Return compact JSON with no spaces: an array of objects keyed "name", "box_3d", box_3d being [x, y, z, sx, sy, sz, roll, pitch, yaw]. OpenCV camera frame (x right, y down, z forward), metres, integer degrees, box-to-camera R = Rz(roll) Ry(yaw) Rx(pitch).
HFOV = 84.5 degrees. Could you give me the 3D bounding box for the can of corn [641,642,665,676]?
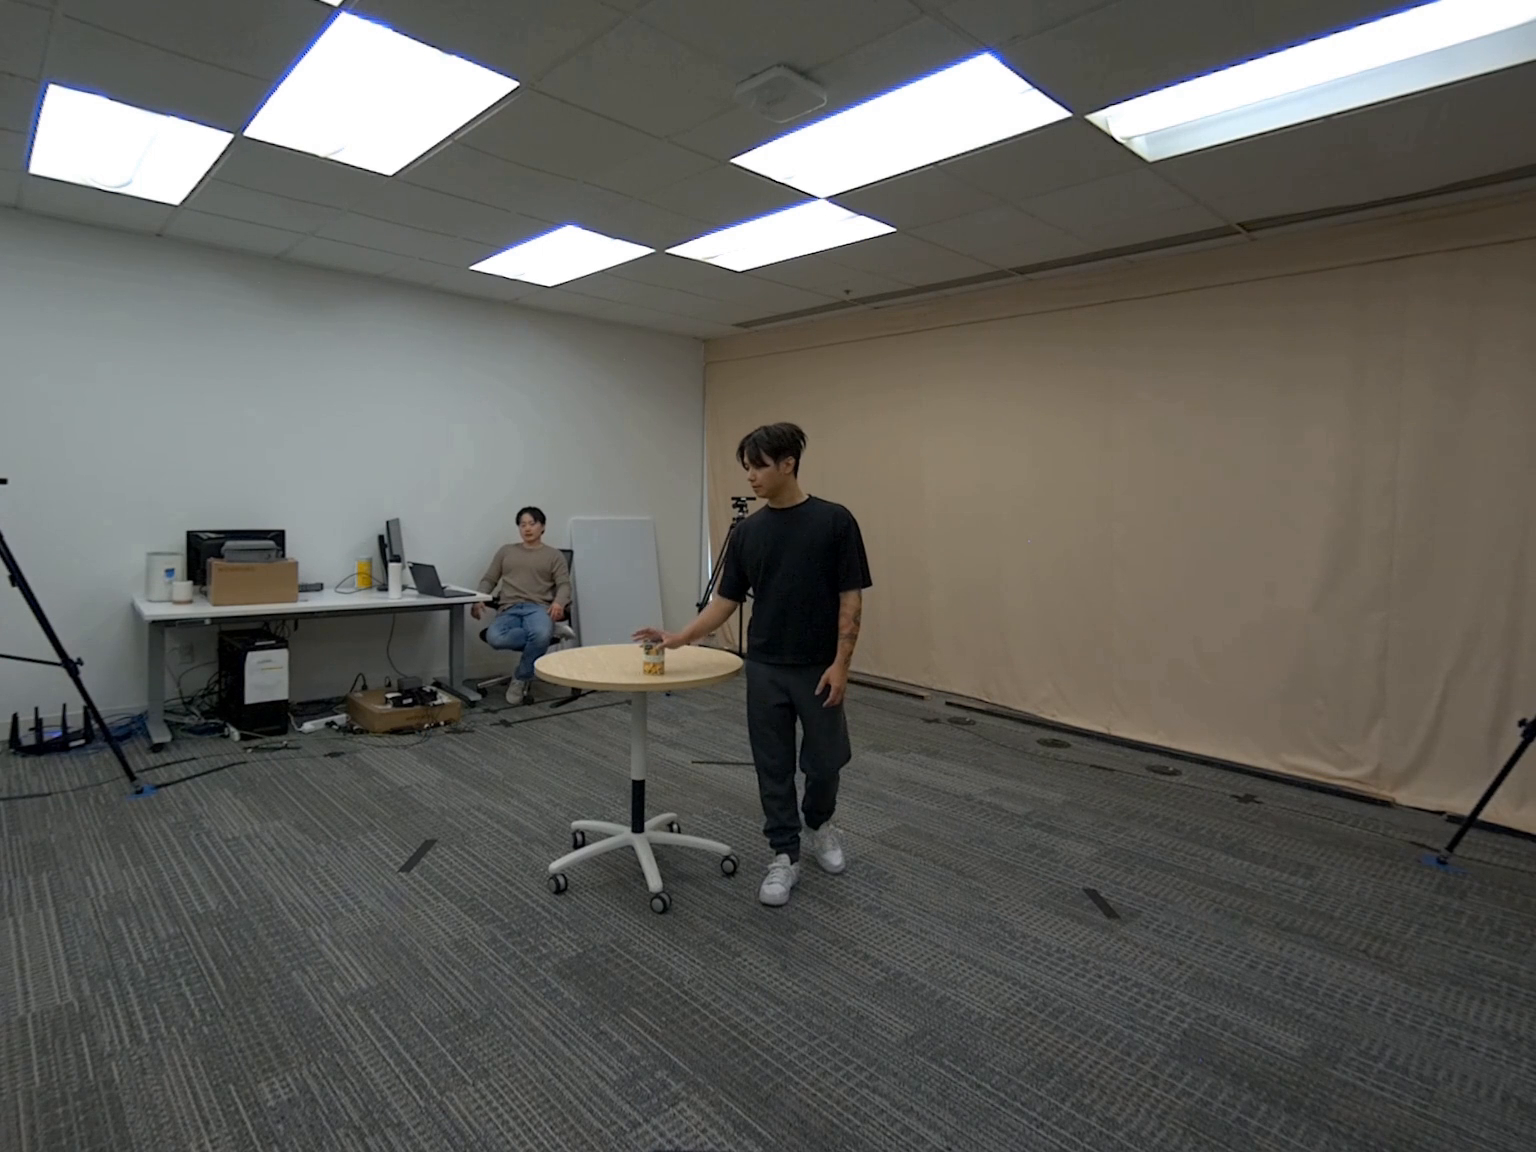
[{"name":"can of corn","box_3d":[-0.394,0.279,2.896,0.074,0.111,0.074,0,5,-1]}]
